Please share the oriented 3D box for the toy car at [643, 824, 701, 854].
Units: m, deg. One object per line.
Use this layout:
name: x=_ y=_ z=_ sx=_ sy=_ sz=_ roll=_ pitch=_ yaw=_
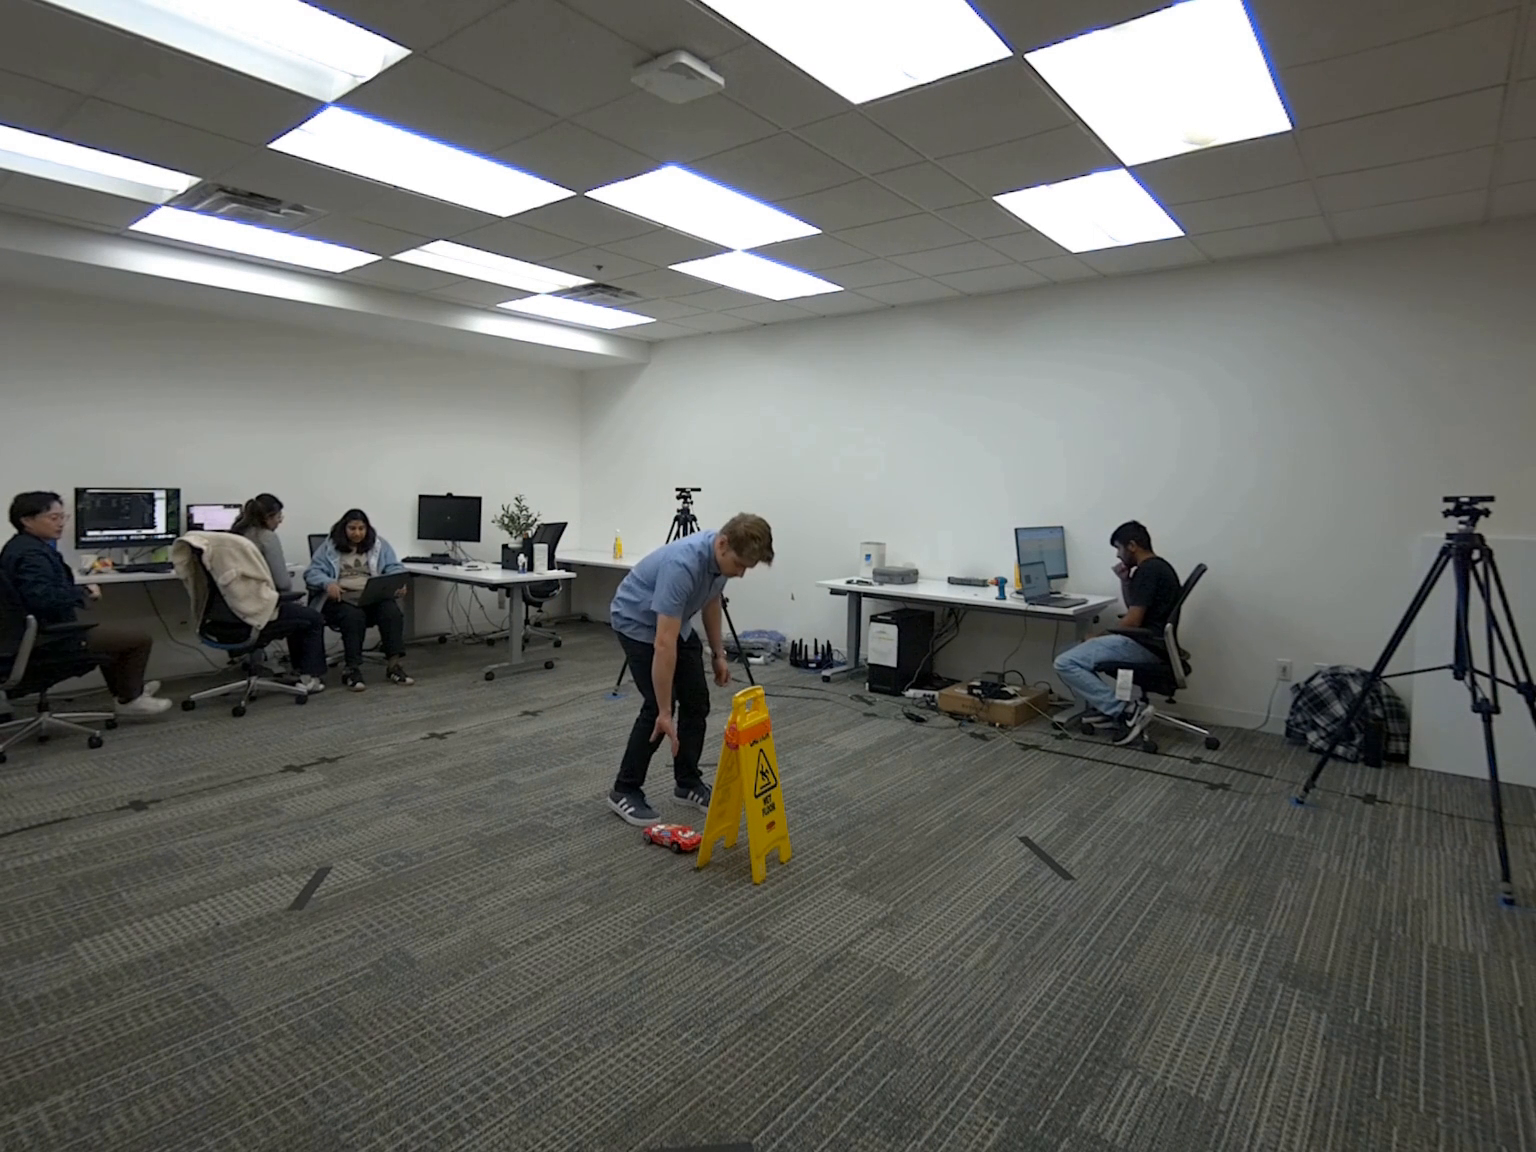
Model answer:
toy car: x=-0.378 y=1.020 z=3.305 sx=0.261 sy=0.083 sz=0.126 roll=-7 pitch=-1 yaw=36
